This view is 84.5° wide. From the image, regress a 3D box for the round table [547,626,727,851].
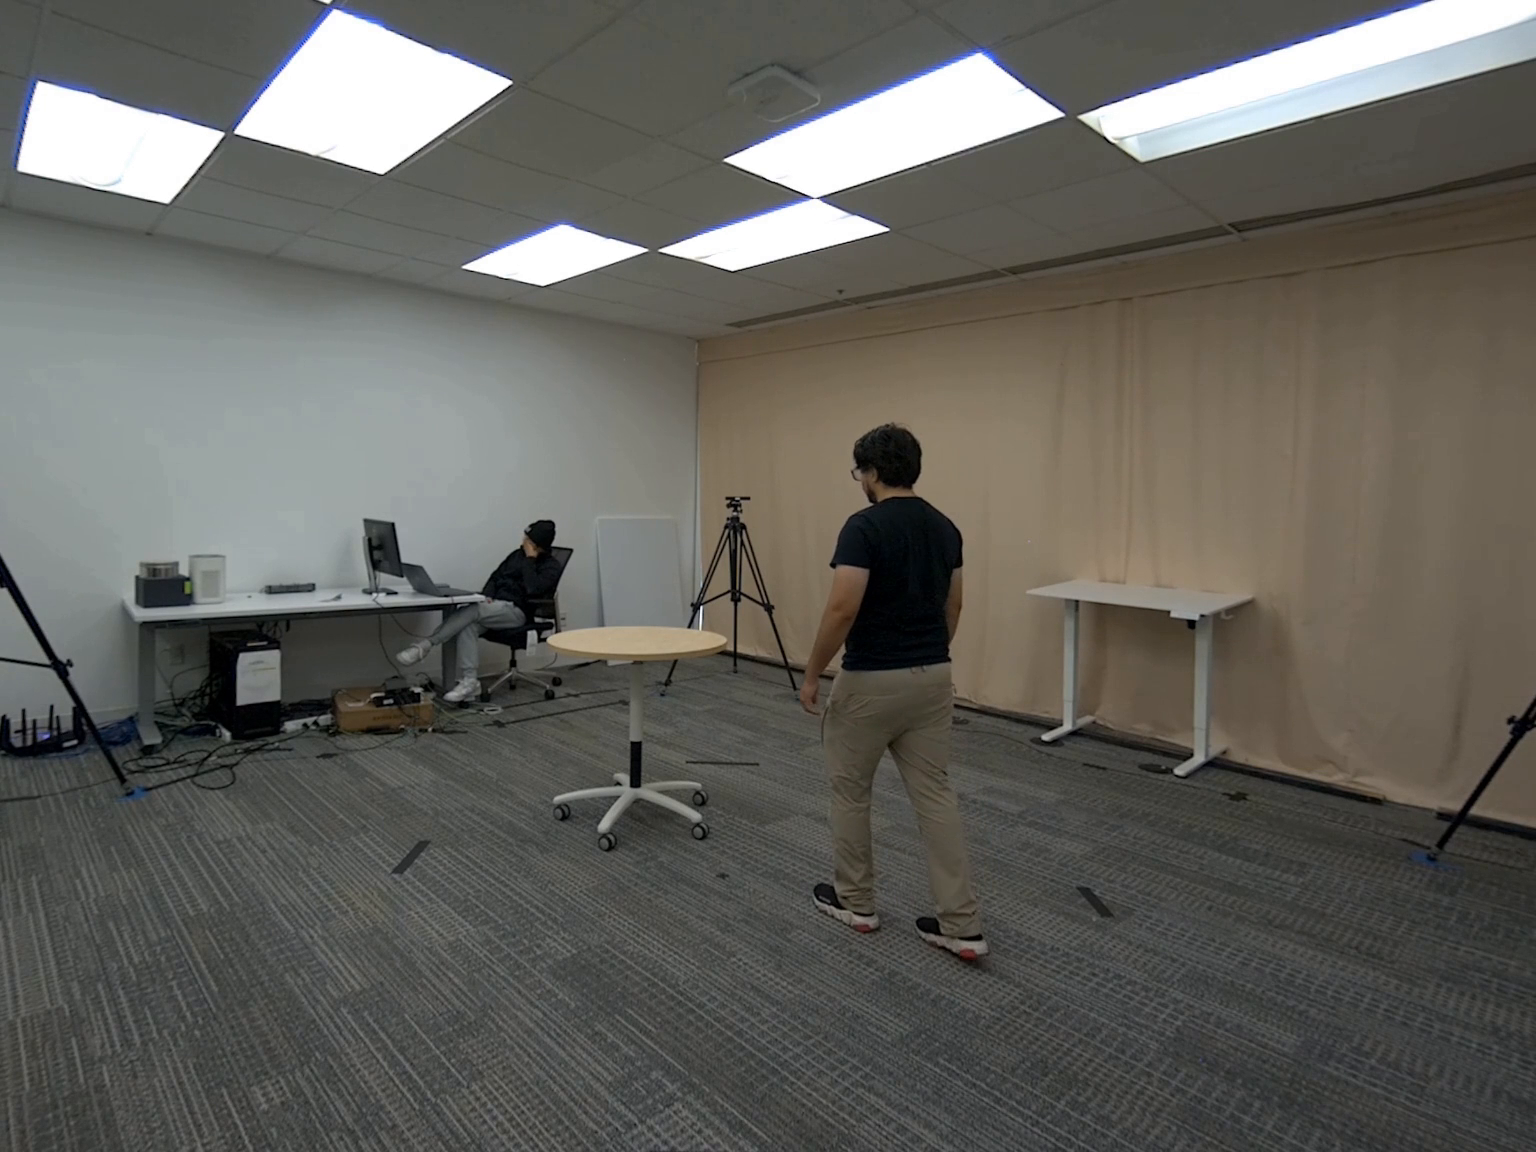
[{"bbox_3d":[-0.576,0.659,3.605,0.784,0.785,0.787,1,3,-1],"label":"round table"}]
